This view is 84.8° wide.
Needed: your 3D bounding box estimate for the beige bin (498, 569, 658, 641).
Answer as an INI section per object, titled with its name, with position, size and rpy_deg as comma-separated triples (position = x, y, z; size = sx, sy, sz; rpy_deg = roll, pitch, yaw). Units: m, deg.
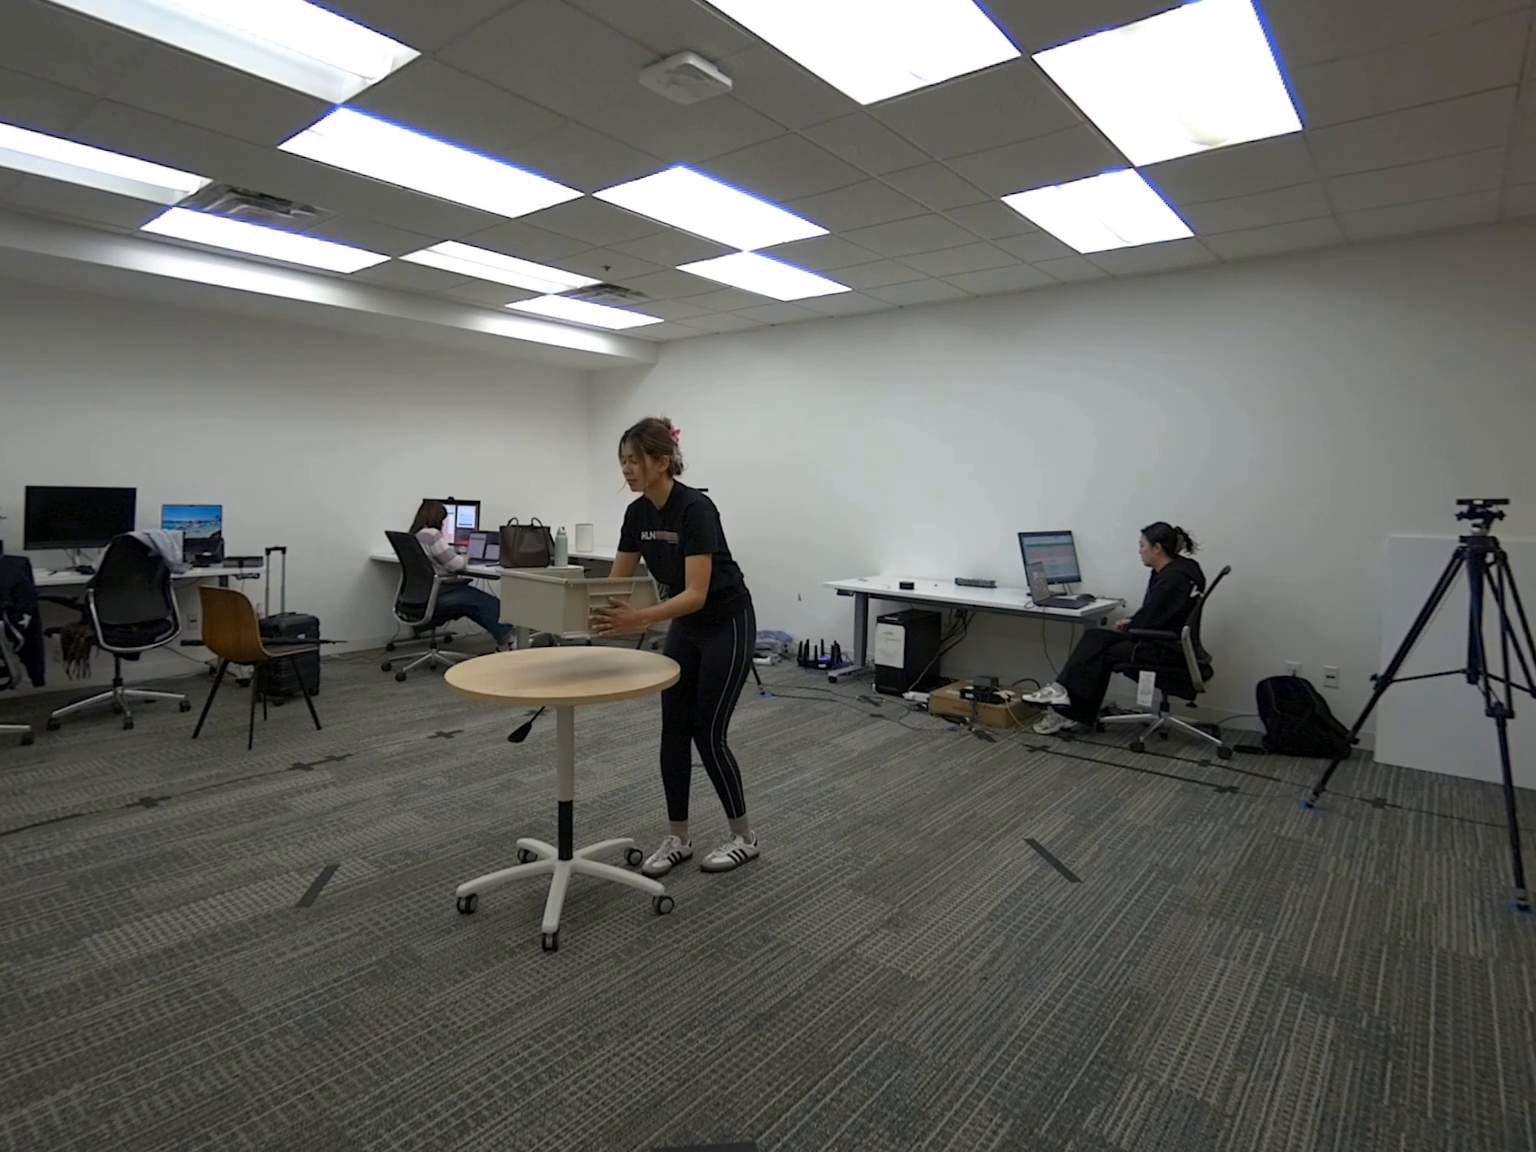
[beige bin]
position = -0.654, 0.079, 2.811
size = 0.437, 0.188, 0.366
rpy_deg = 7, 8, 44
